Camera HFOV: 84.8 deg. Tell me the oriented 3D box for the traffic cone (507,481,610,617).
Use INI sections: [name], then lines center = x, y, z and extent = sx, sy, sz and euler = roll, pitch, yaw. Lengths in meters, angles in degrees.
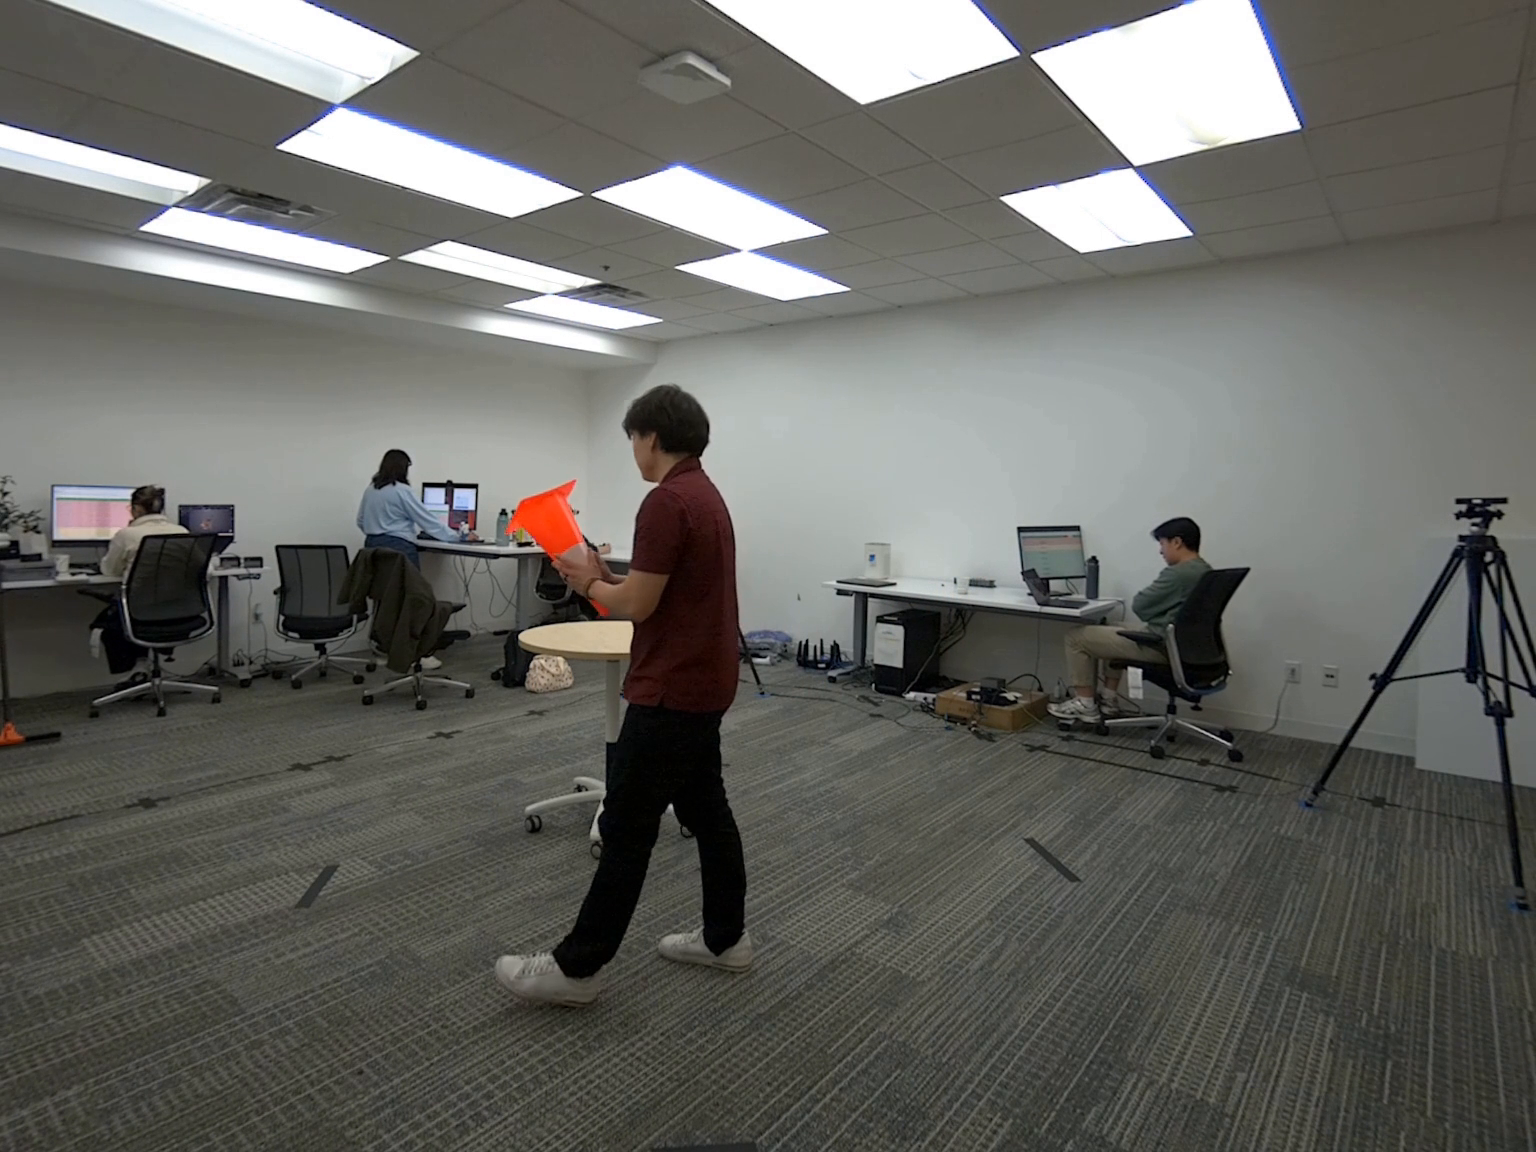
[traffic cone]
center = -0.576, -0.052, 2.472
extent = 0.202, 0.389, 0.203
euler = -29, -11, -36
